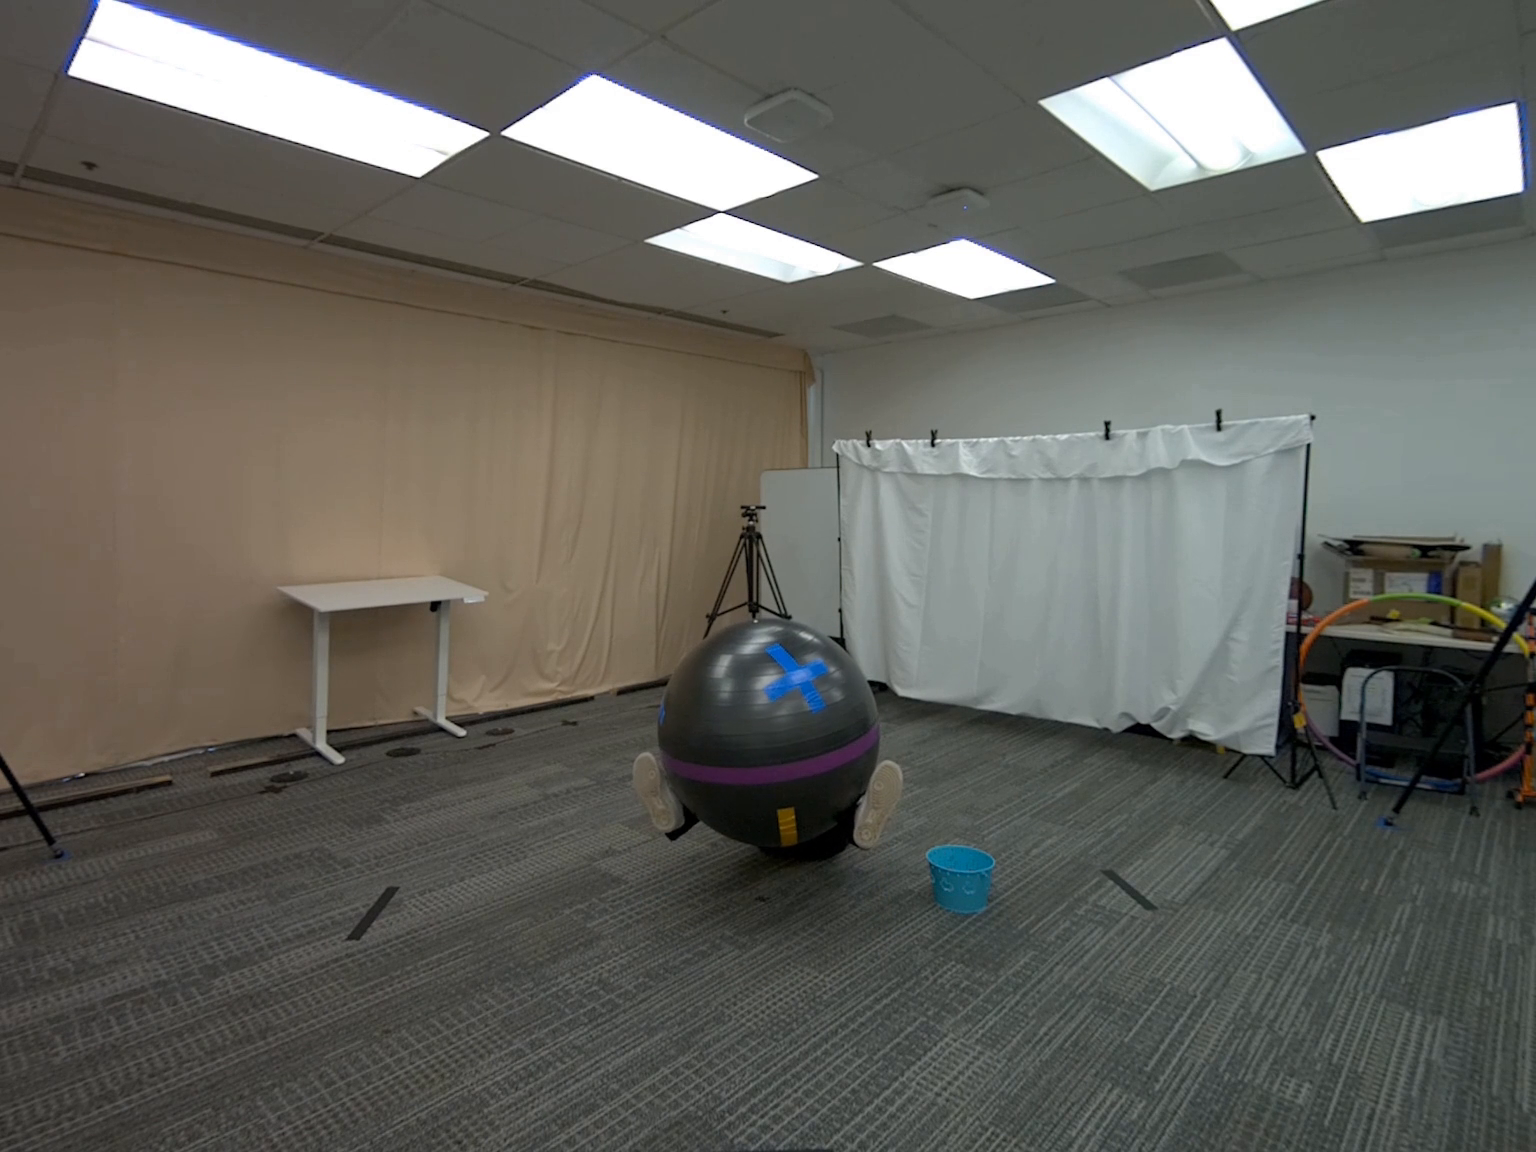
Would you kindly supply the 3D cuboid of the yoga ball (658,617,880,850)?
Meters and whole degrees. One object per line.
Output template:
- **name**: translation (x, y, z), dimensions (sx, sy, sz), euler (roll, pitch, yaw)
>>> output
- **yoga ball**: translation (0.002, 0.530, 2.893), dimensions (0.757, 0.756, 0.760), euler (0, 4, -2)
